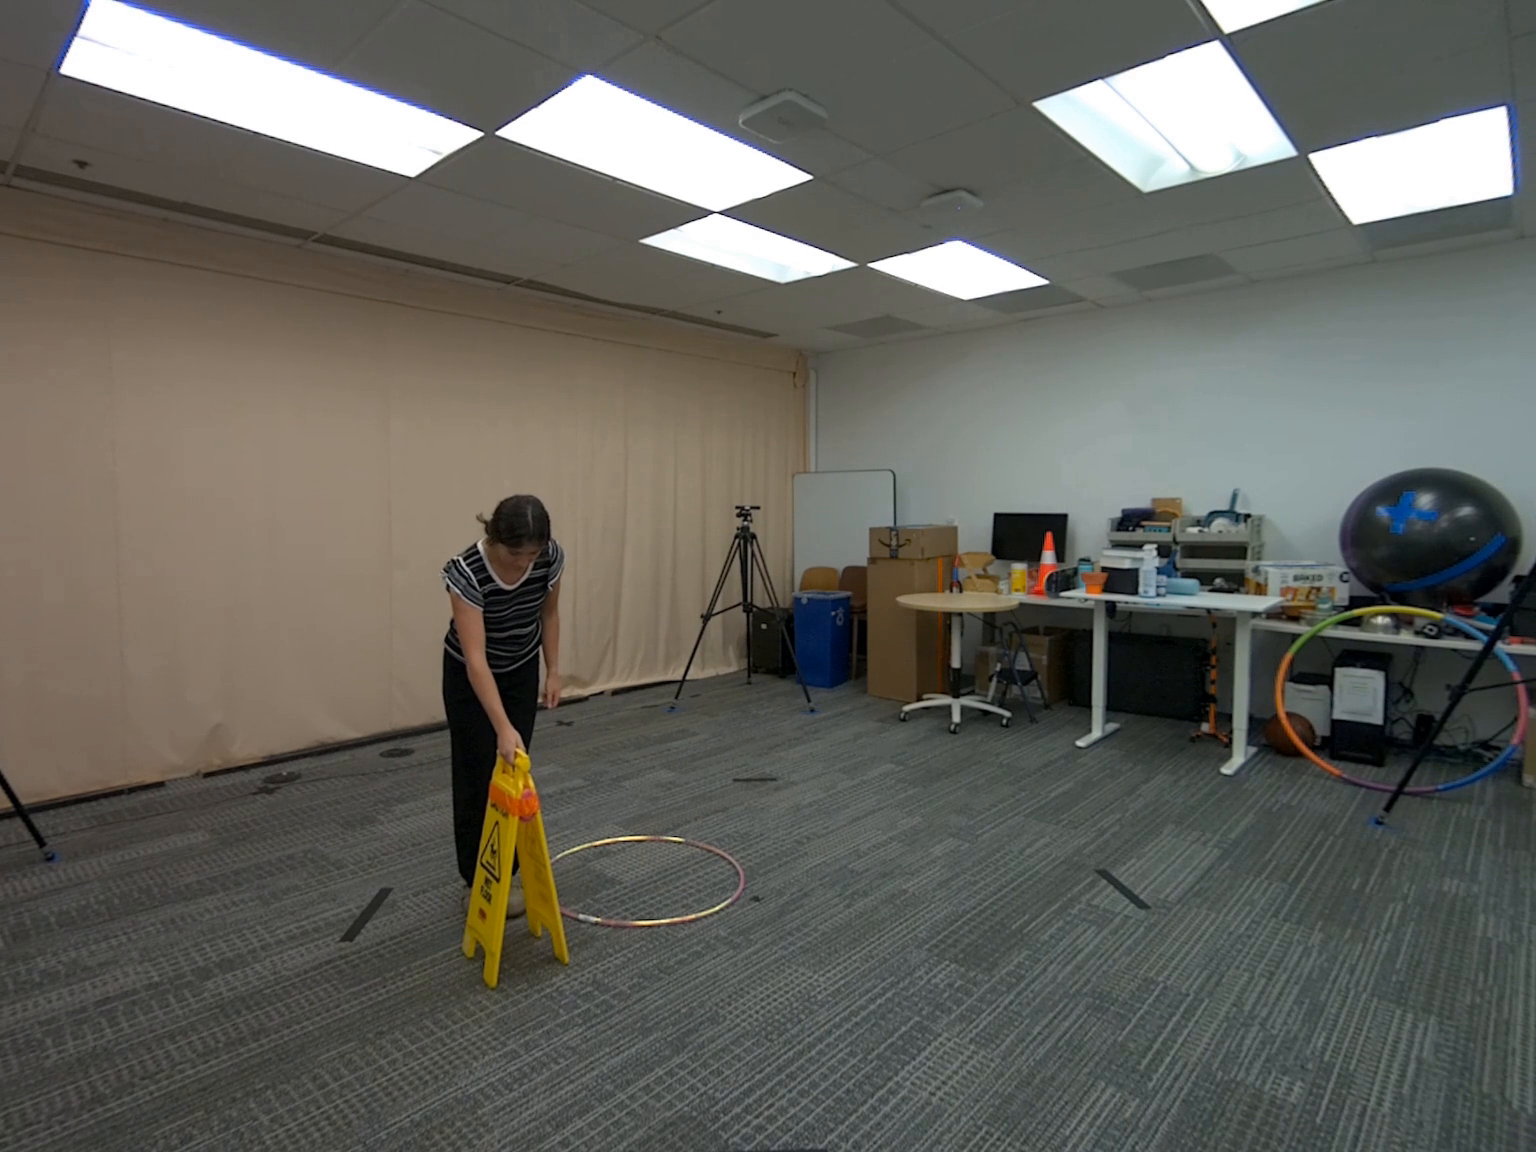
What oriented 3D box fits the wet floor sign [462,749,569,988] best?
[{"bbox_3d":[-0.783,0.854,2.590,0.281,0.645,0.291,-1,3,-37],"label":"wet floor sign"}]
